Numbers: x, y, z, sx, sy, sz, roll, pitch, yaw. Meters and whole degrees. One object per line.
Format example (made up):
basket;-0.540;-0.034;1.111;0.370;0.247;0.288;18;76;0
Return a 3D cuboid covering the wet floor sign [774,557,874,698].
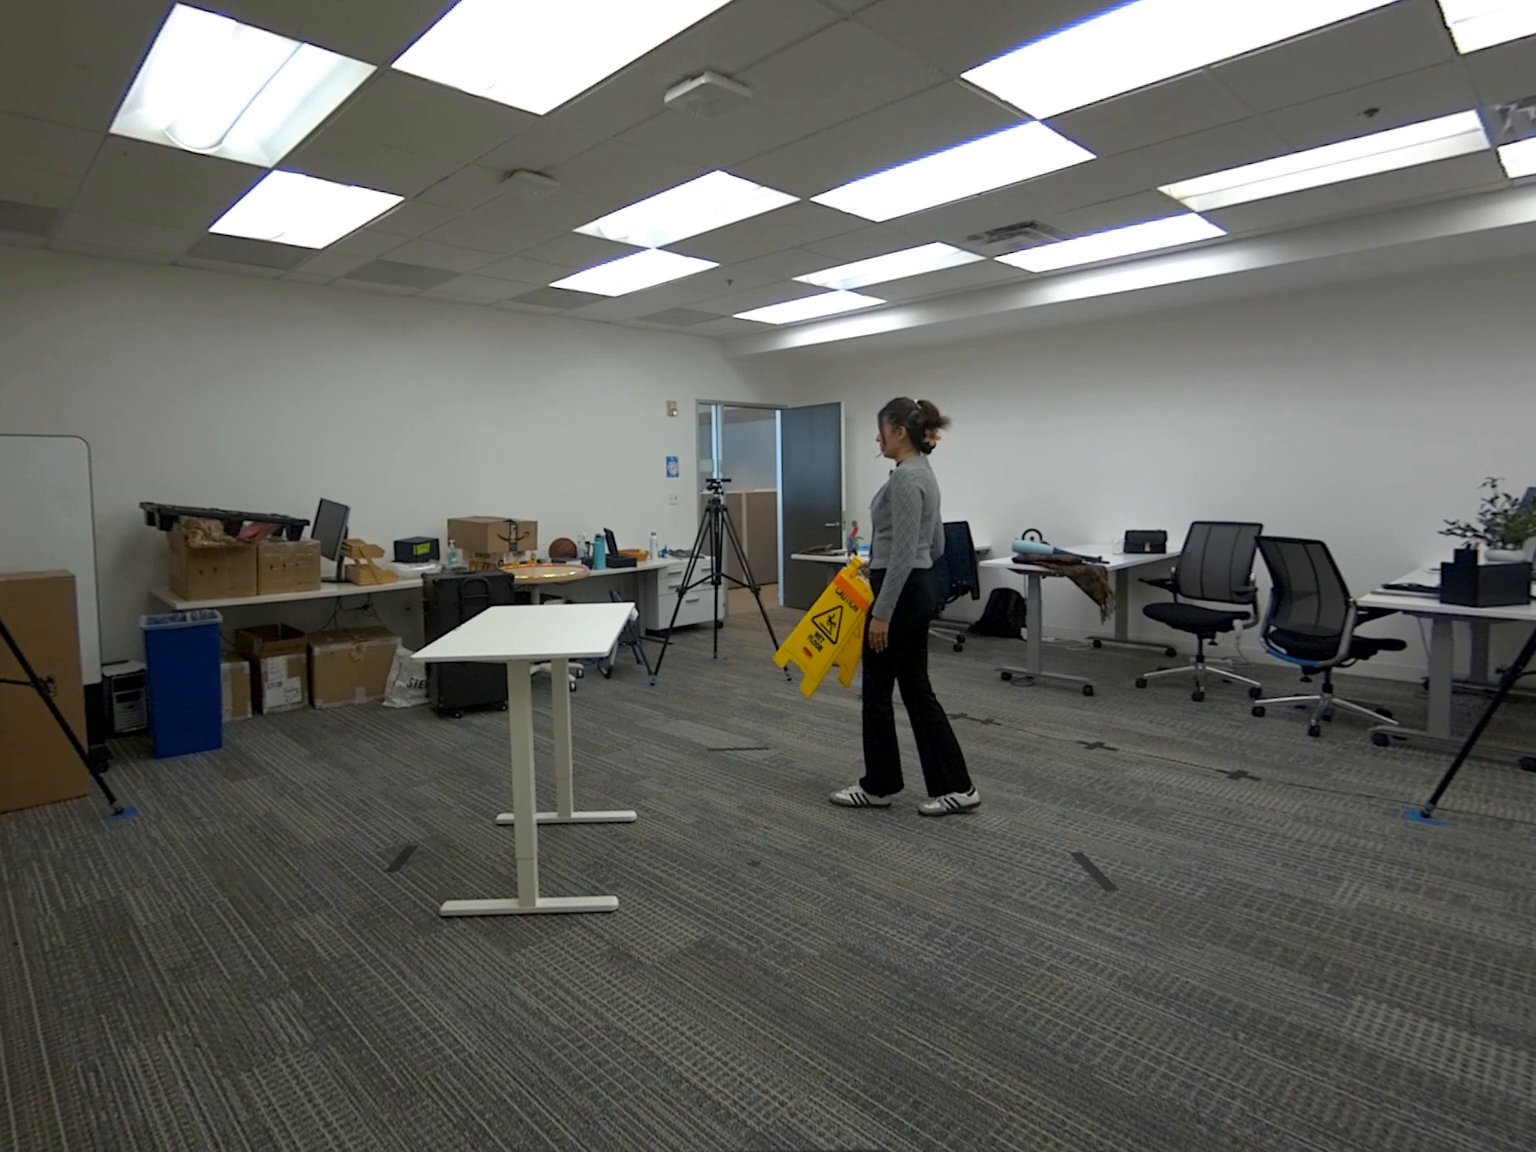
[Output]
wet floor sign;0.327;0.220;3.971;0.282;0.639;0.293;-4;39;-44
